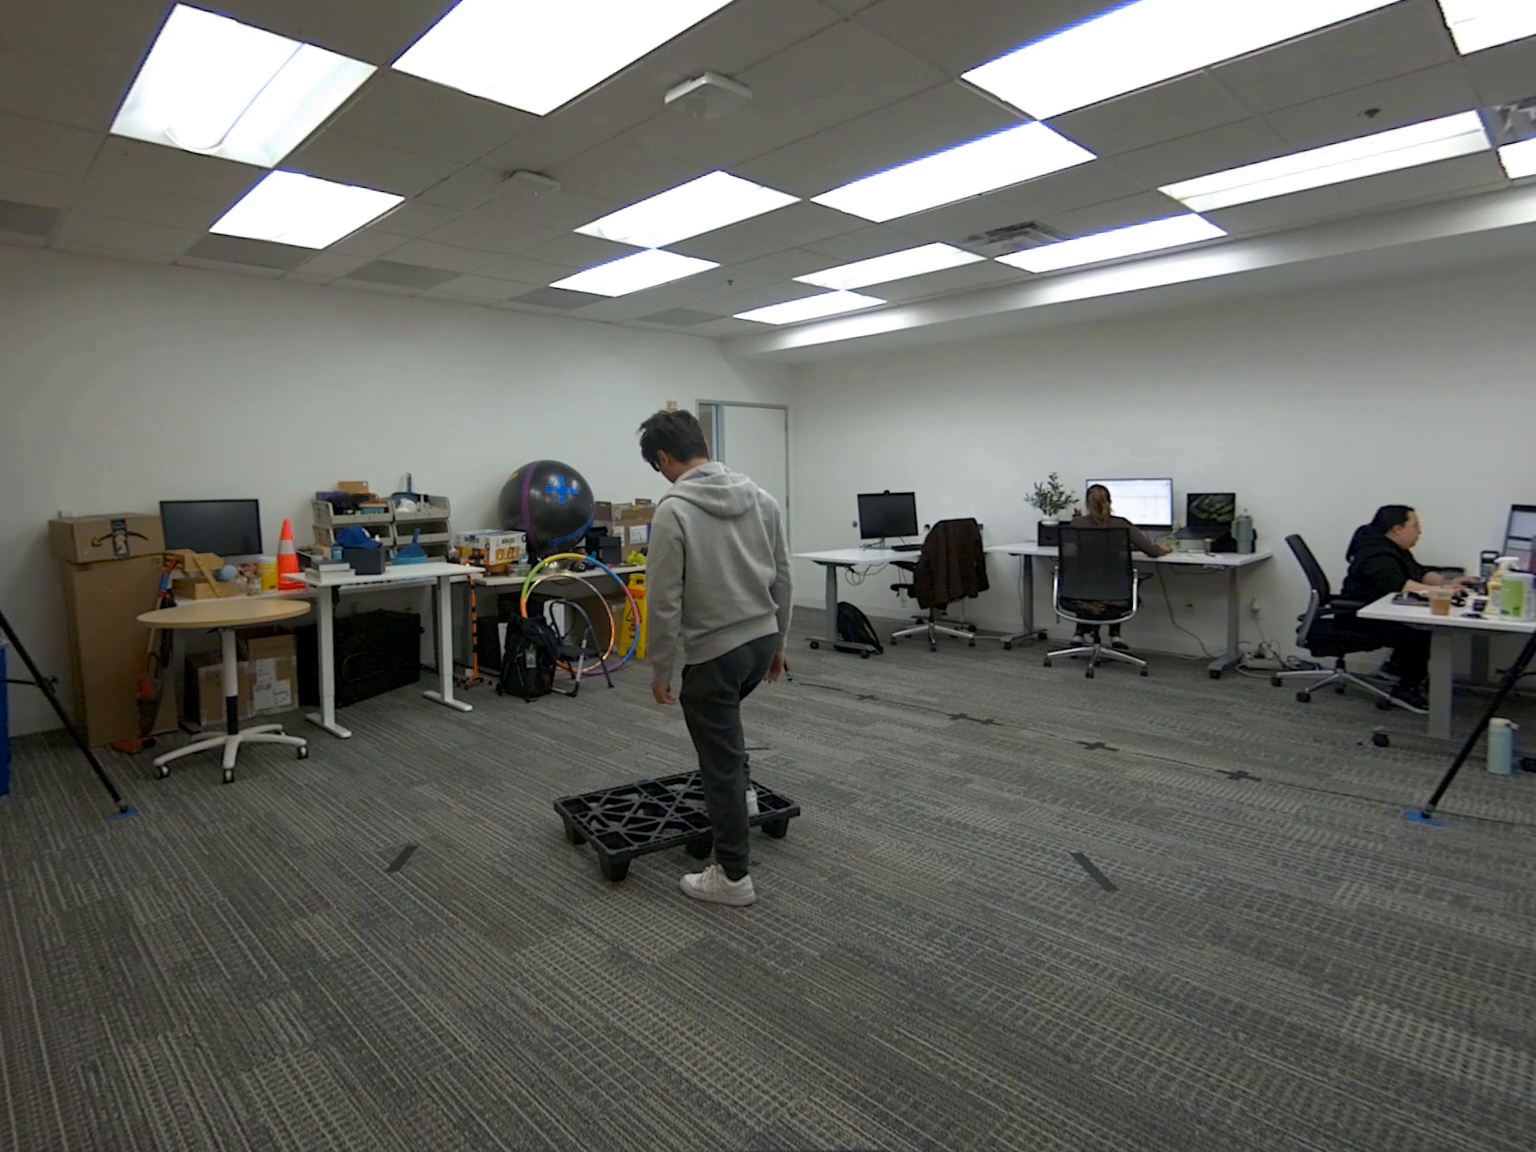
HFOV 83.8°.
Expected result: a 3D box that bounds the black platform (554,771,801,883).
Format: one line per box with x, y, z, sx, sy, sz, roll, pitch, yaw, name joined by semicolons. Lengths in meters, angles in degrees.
-0.355;0.956;3.351;0.786;0.142;0.623;-5;8;-31;black platform
